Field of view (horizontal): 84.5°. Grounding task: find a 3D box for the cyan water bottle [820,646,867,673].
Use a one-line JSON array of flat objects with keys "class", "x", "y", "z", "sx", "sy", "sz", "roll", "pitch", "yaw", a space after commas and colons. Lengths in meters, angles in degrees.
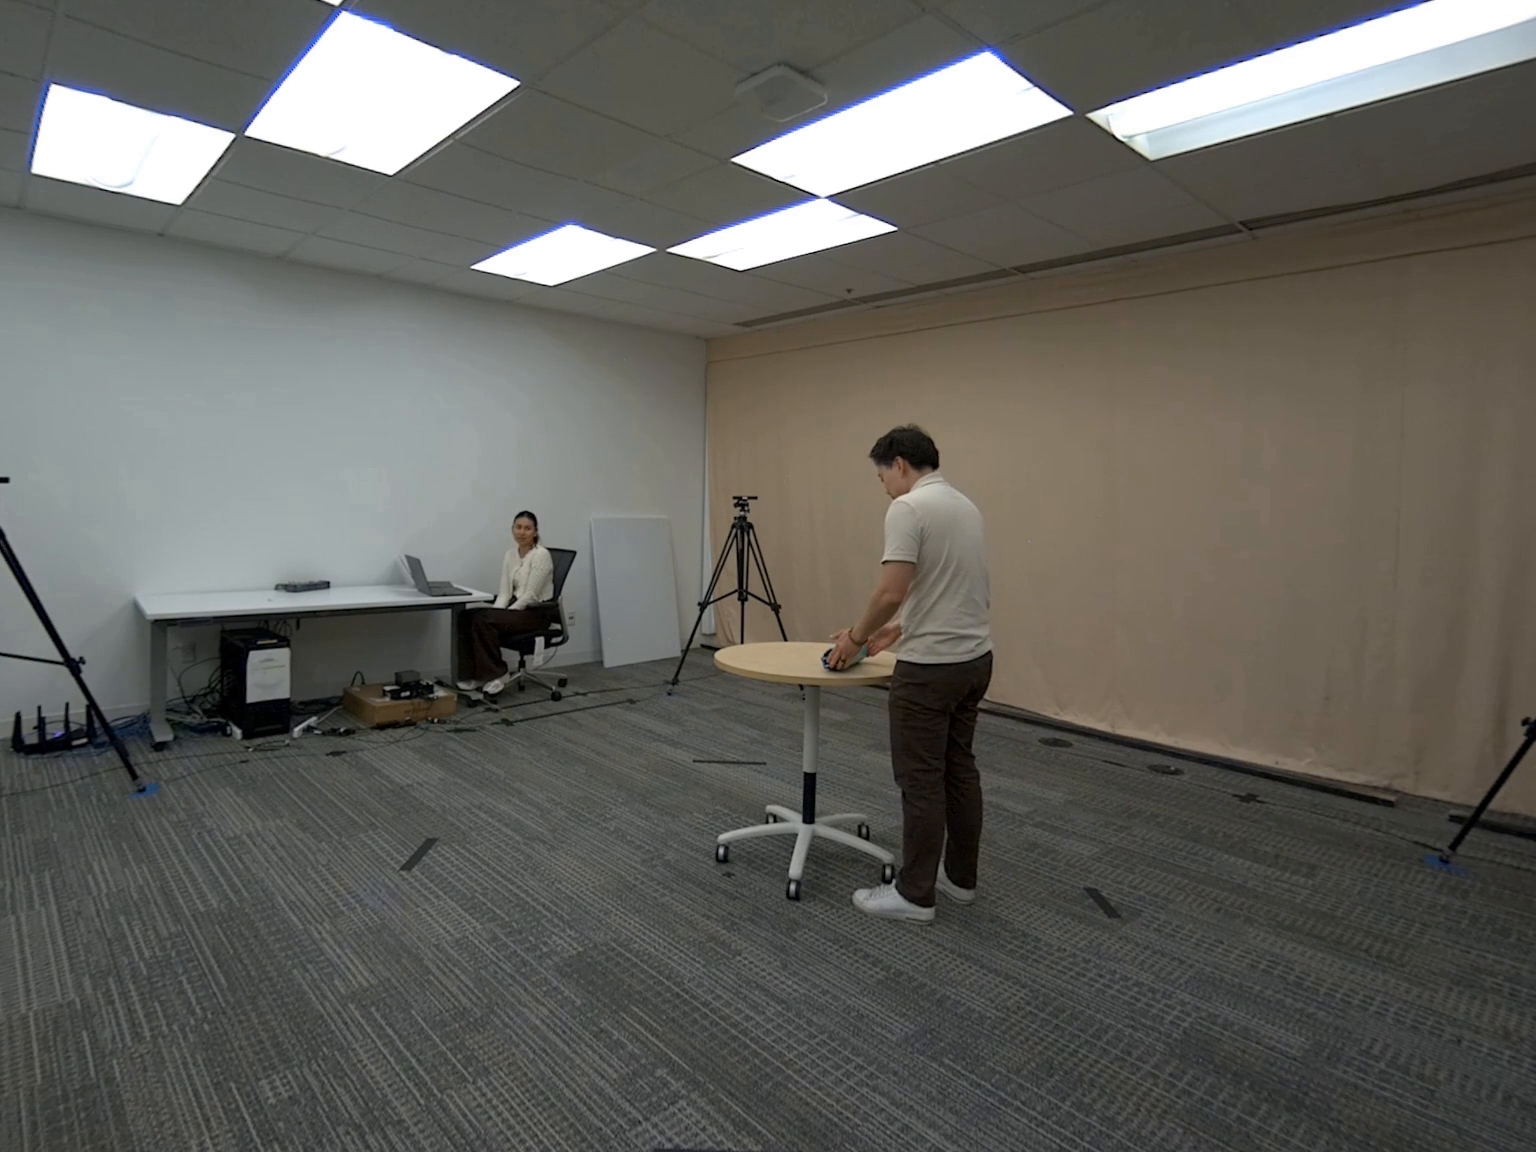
[{"class": "cyan water bottle", "x": 0.281, "y": 0.288, "z": 3.064, "sx": 0.094, "sy": 0.092, "sz": 0.279, "roll": 3, "pitch": 6, "yaw": 25}]
